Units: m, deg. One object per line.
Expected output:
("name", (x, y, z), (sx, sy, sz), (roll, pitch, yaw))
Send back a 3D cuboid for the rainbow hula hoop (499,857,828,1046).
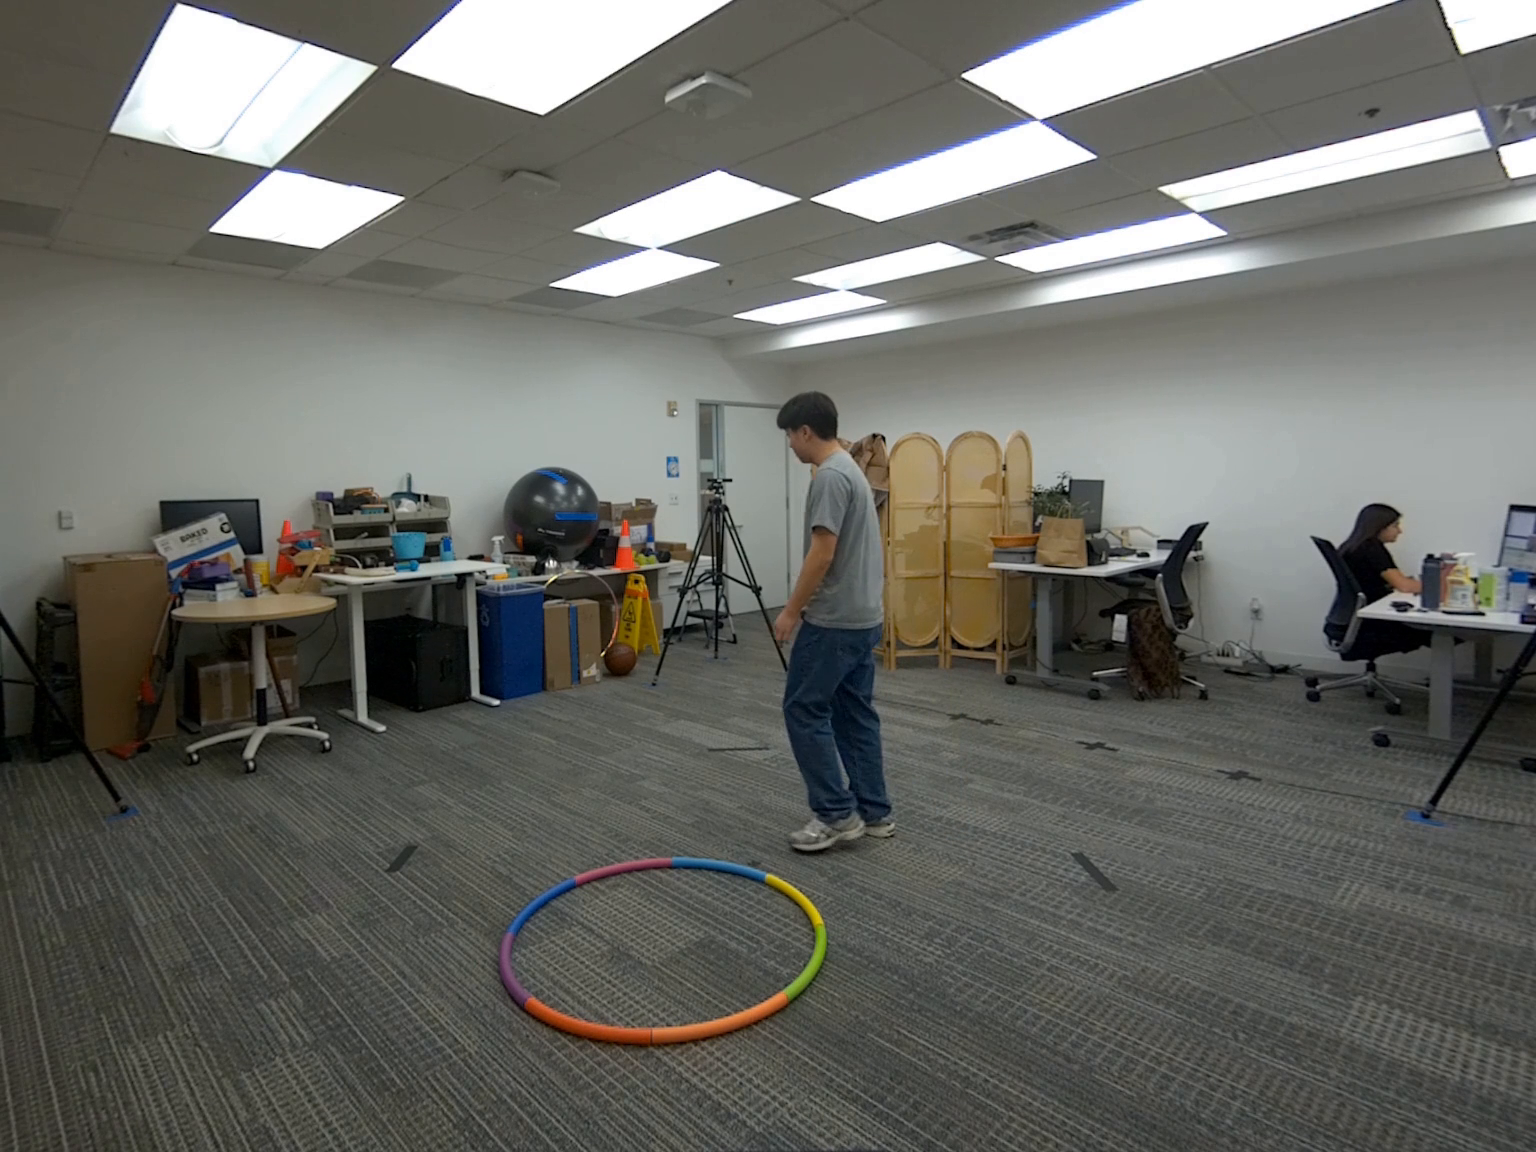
("rainbow hula hoop", (-0.312, 1.080, 2.610), (0.978, 0.035, 0.984), (-2, 7, -2))
